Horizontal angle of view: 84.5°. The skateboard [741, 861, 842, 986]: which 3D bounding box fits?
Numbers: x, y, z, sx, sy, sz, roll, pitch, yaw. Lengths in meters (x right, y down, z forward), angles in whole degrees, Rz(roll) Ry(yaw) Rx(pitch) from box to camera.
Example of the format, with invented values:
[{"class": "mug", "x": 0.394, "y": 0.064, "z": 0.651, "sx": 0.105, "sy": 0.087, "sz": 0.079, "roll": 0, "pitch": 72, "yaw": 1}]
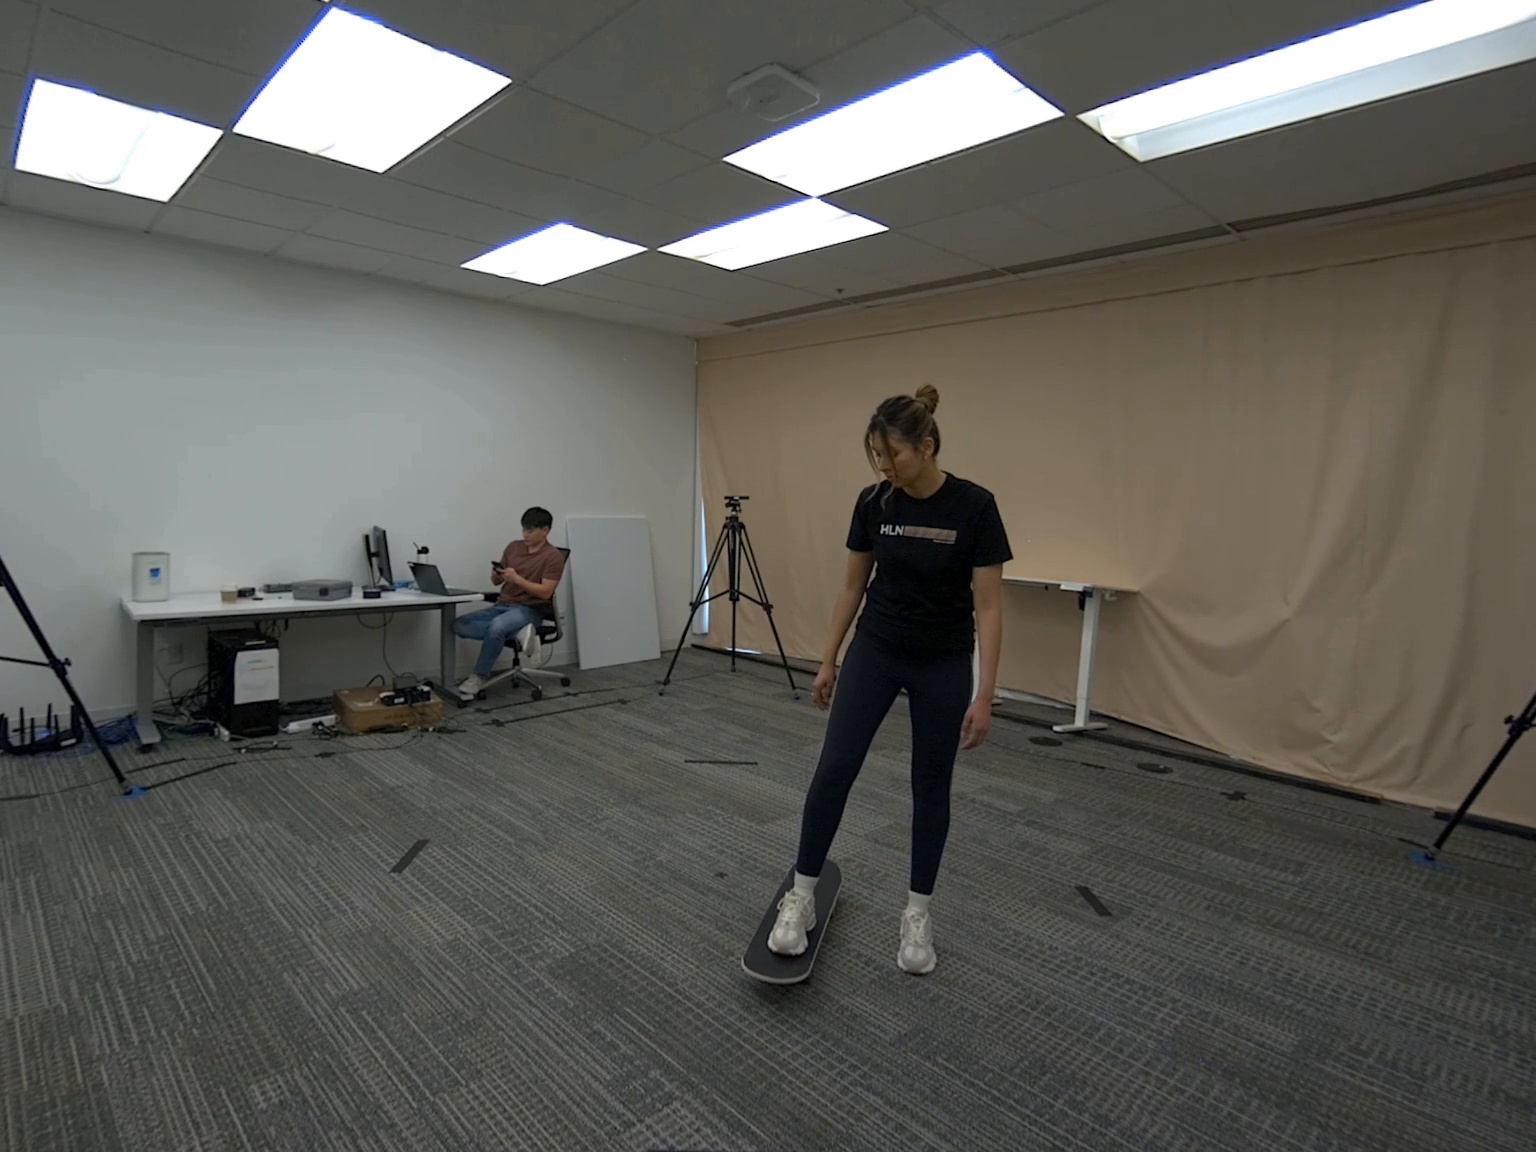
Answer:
[{"class": "skateboard", "x": 0.087, "y": 1.096, "z": 2.646, "sx": 0.196, "sy": 0.110, "sz": 0.778, "roll": 4, "pitch": 6, "yaw": 14}]
